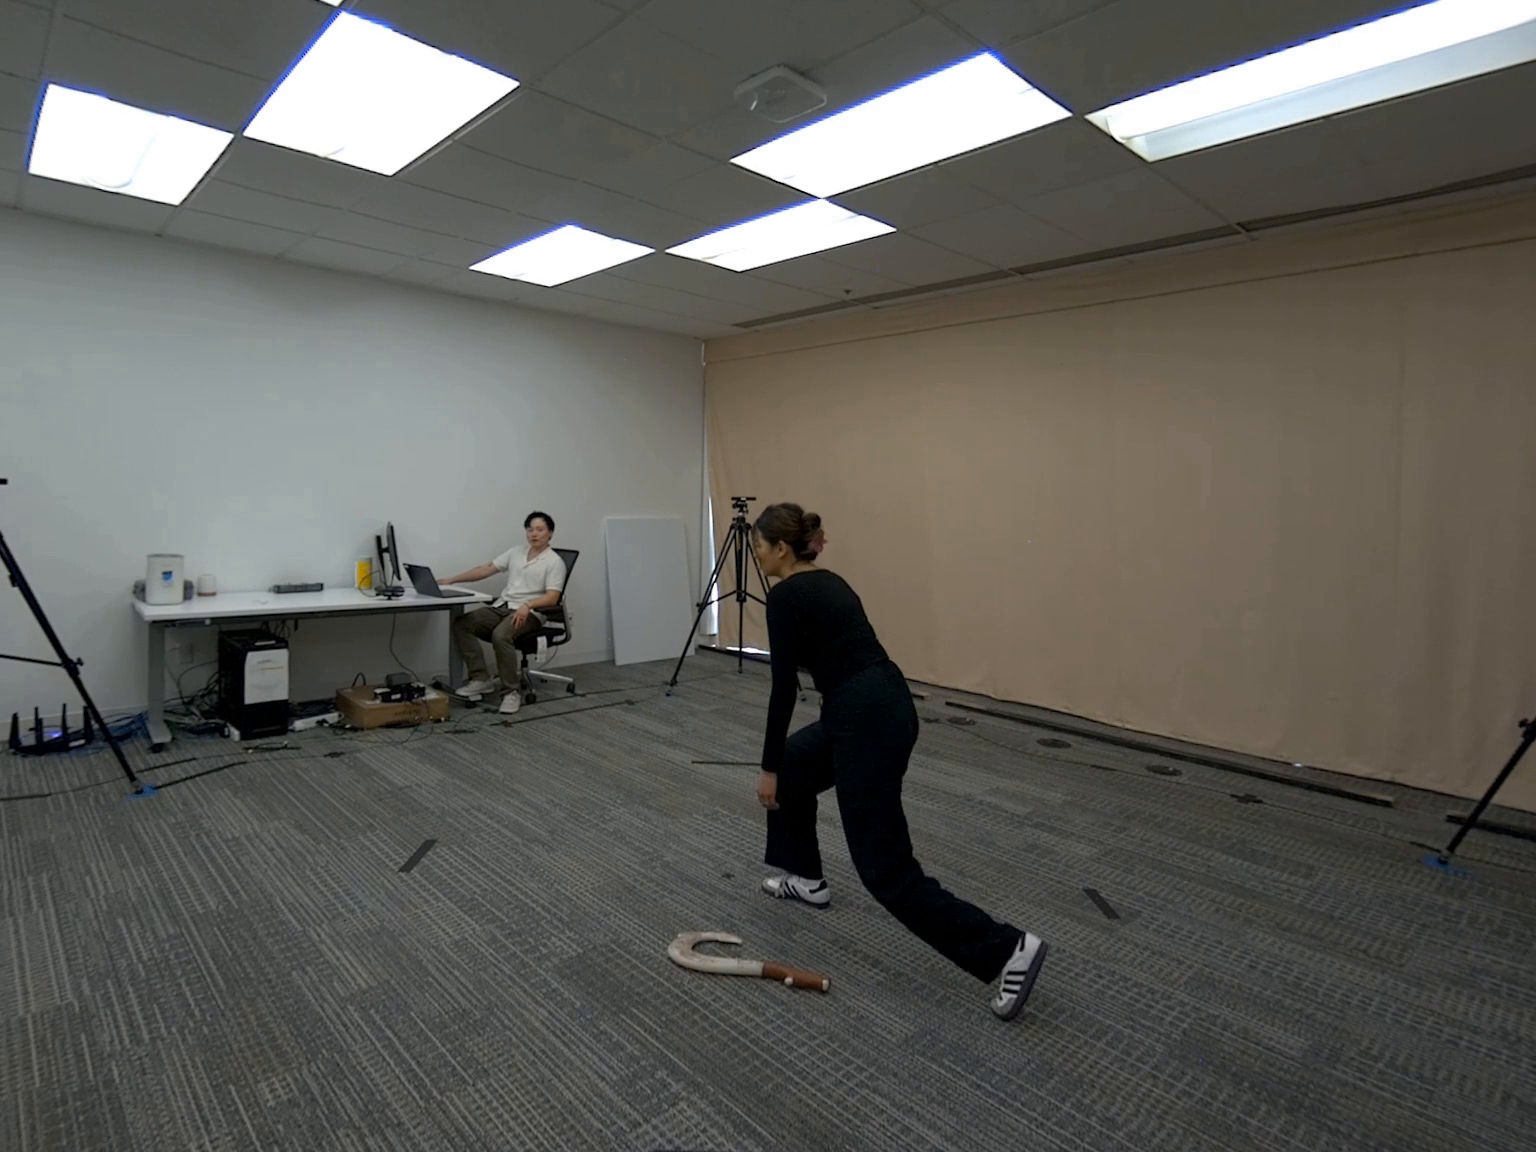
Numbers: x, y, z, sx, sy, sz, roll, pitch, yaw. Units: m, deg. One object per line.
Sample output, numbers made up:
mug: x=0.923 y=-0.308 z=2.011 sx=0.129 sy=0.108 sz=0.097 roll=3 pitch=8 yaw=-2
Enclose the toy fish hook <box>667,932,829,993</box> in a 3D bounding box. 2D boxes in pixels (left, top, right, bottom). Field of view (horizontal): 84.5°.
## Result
toy fish hook: x=-0.053 y=1.136 z=2.517 sx=0.514 sy=0.048 sz=0.222 roll=3 pitch=7 yaw=19
